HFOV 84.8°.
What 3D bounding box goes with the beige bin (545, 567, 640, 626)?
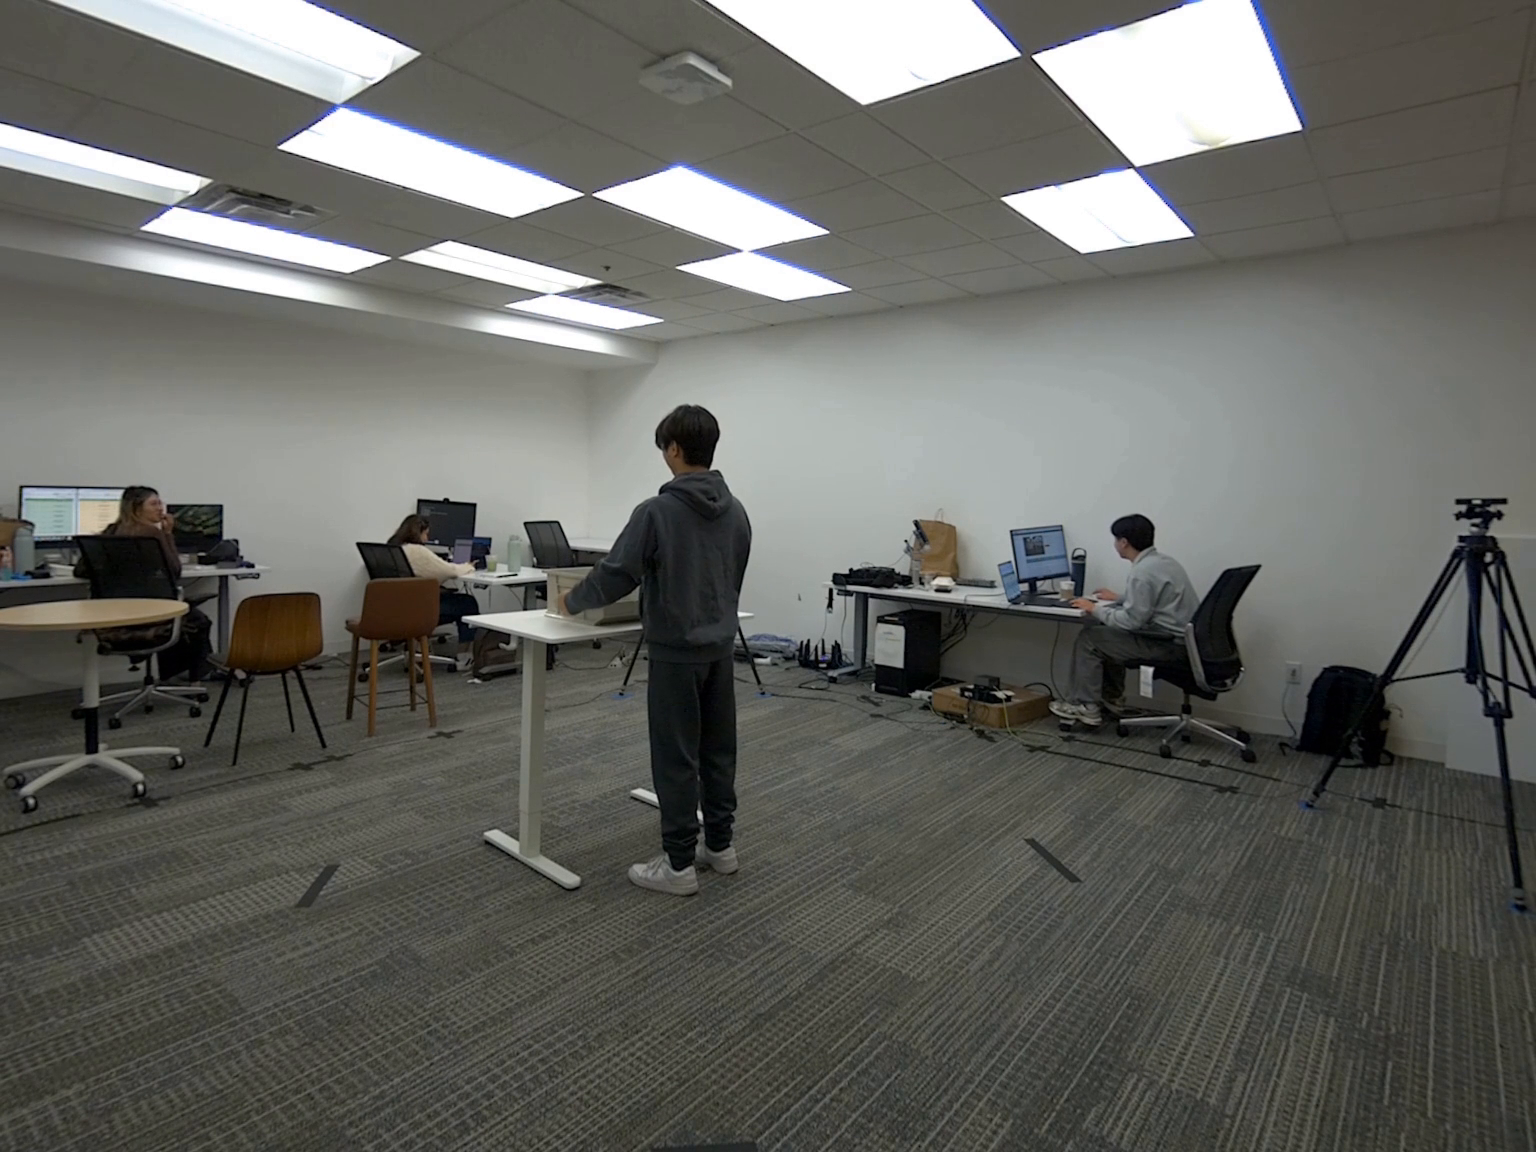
[{"bbox_3d":[-0.614,0.073,3.333,0.390,0.188,0.410,5,6,41],"label":"beige bin"}]
